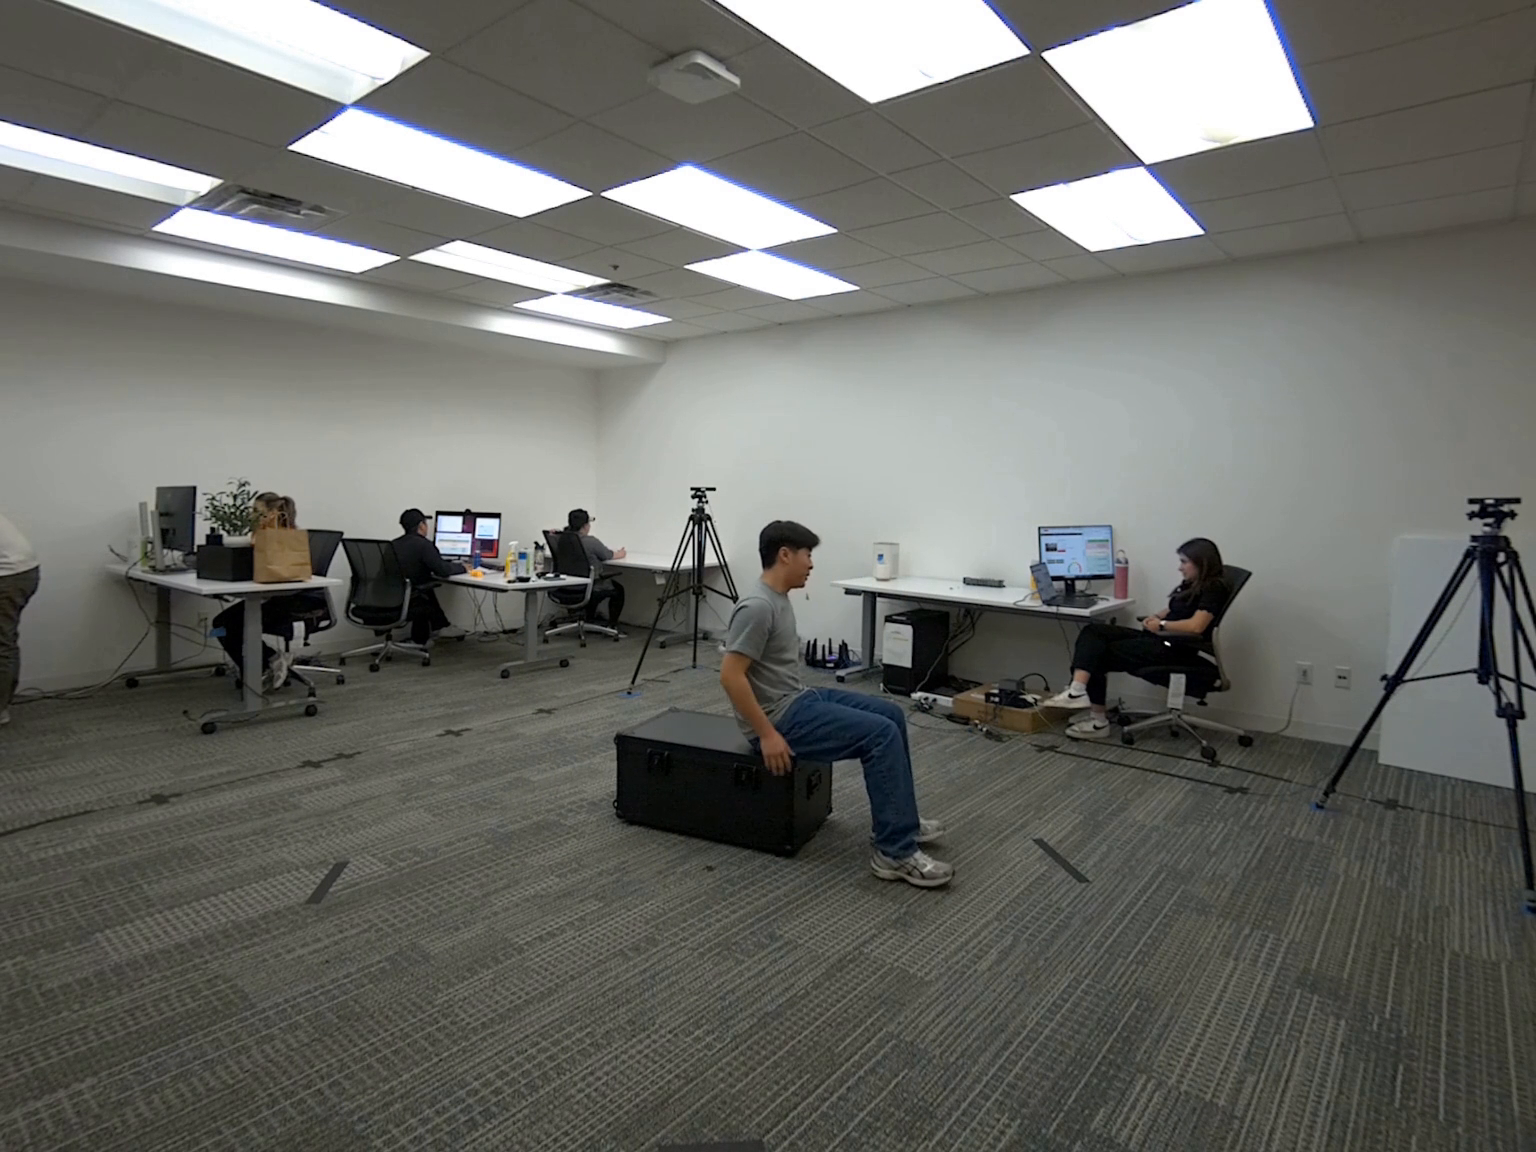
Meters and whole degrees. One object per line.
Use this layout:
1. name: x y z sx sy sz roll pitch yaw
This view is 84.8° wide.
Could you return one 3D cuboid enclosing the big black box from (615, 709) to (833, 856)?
1. big black box: -0.217 0.834 3.575 0.884 0.394 0.510 4 6 24
